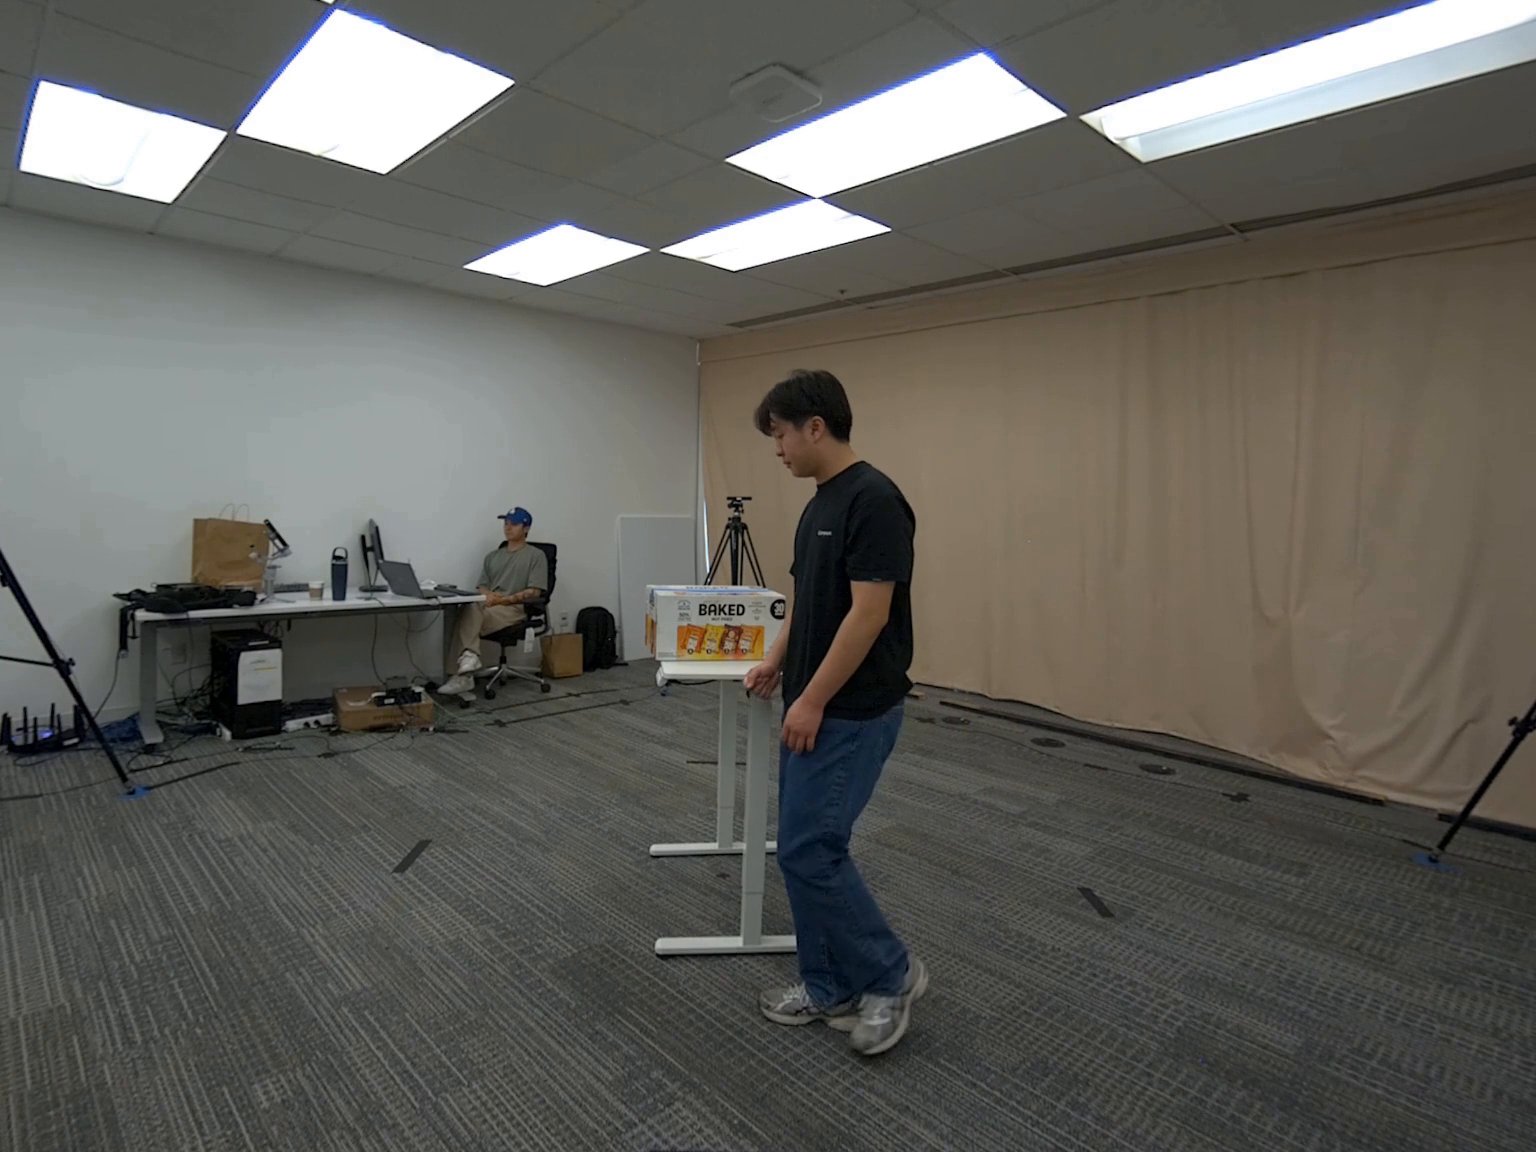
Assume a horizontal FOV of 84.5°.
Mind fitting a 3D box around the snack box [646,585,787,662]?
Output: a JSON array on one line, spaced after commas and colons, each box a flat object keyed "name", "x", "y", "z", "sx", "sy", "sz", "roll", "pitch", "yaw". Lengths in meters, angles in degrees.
[{"name": "snack box", "x": -0.186, "y": 0.150, "z": 2.760, "sx": 0.401, "sy": 0.205, "sz": 0.345, "roll": 1, "pitch": 4, "yaw": -13}]
